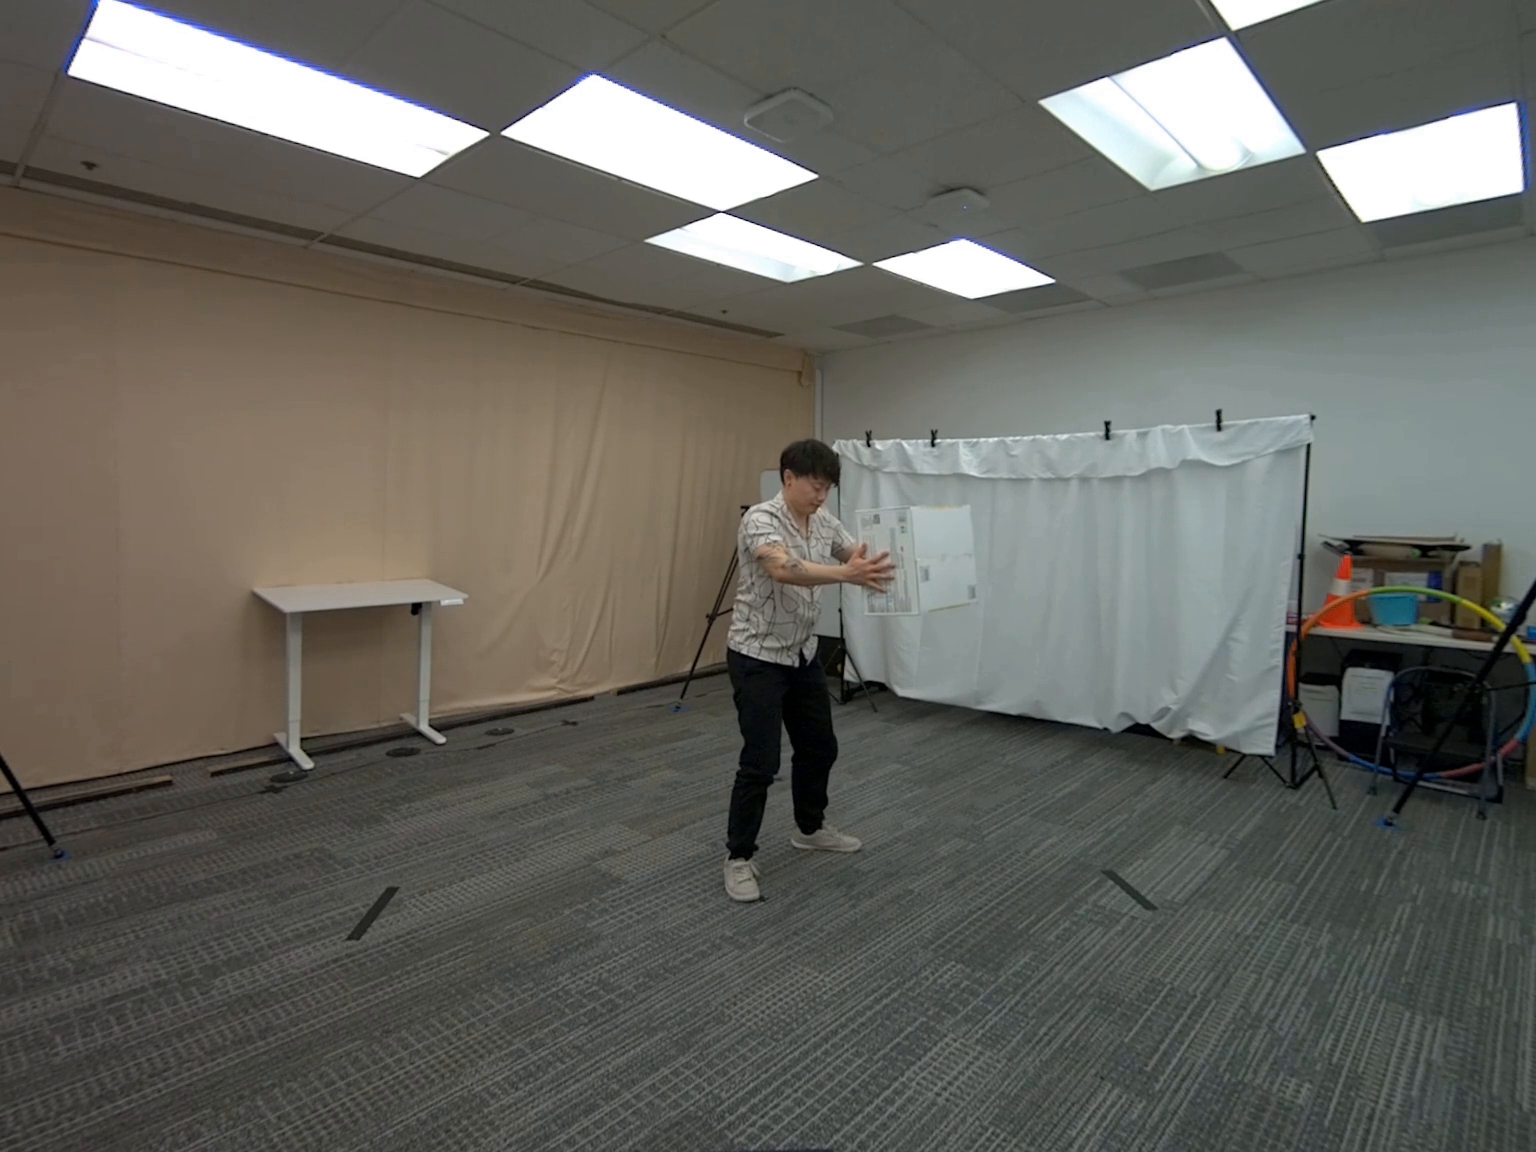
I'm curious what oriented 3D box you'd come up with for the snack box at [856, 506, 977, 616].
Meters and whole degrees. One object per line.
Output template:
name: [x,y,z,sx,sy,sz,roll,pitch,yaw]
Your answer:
snack box: [0.507,-0.049,2.785,0.212,0.340,0.393,-4,1,41]
